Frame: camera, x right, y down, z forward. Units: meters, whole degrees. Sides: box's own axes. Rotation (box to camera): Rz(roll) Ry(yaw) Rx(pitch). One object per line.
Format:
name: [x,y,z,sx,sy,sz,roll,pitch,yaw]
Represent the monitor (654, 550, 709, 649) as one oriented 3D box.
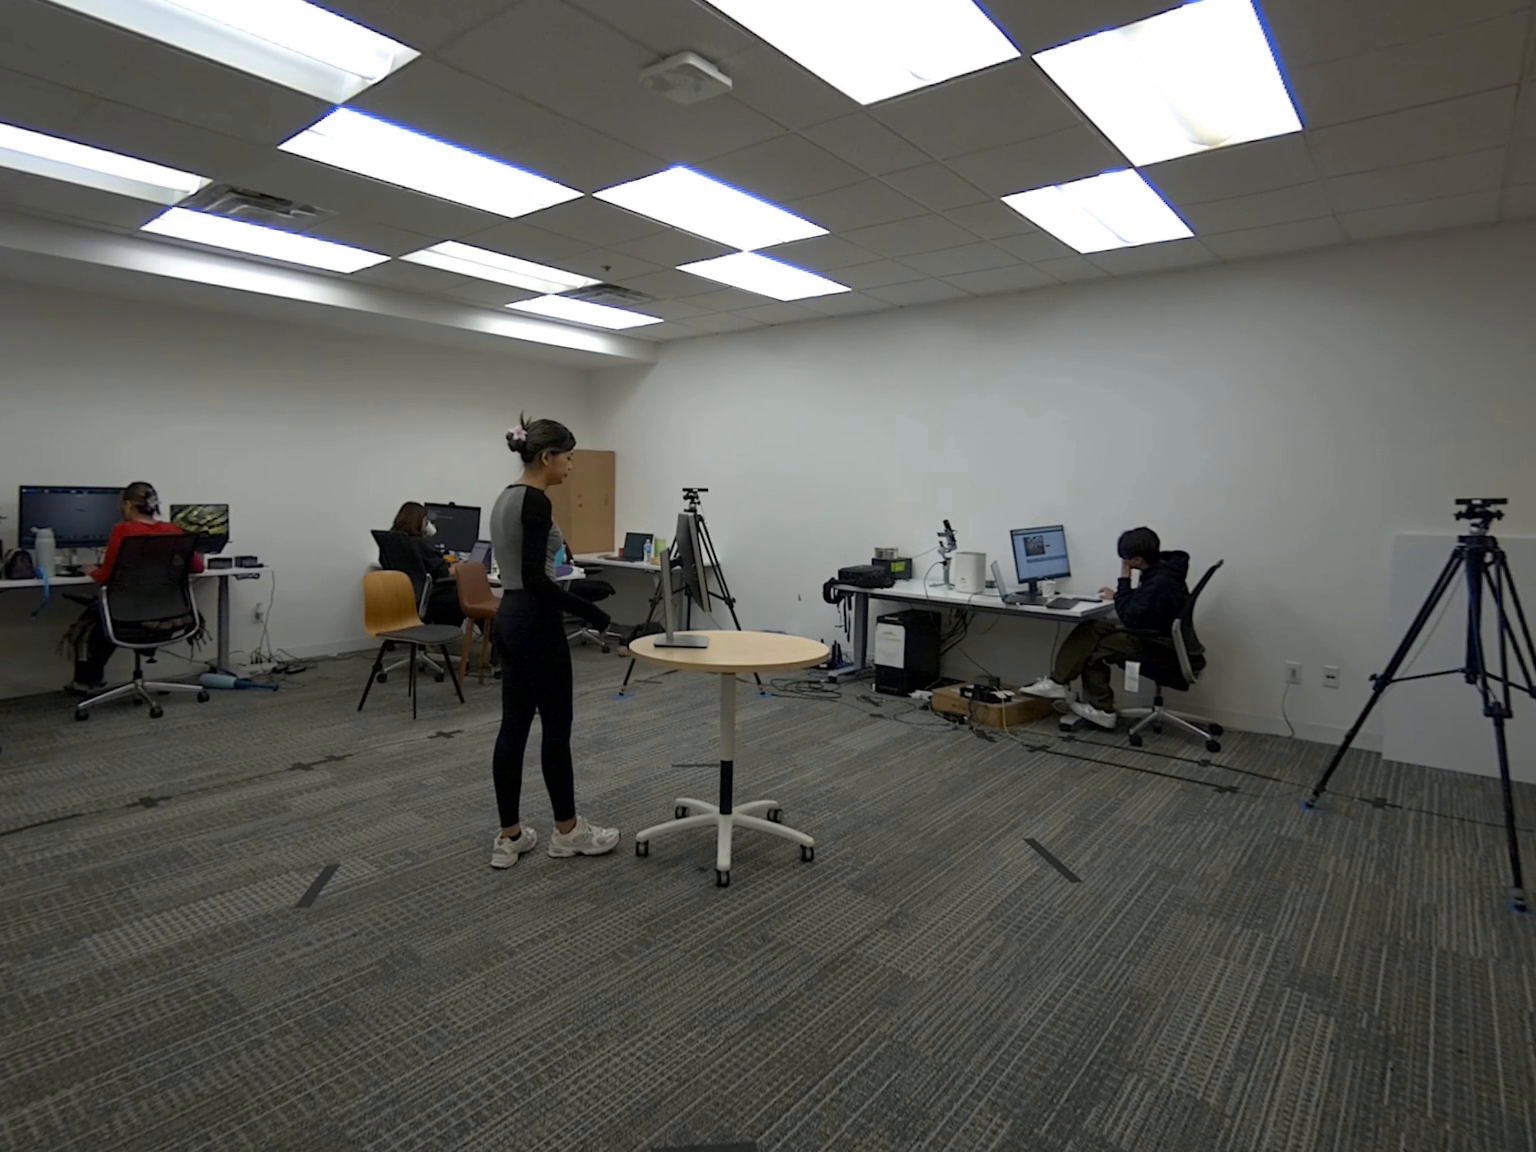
monitor: [-0.345,0.013,3.298,0.185,0.521,0.547,2,3,-12]
